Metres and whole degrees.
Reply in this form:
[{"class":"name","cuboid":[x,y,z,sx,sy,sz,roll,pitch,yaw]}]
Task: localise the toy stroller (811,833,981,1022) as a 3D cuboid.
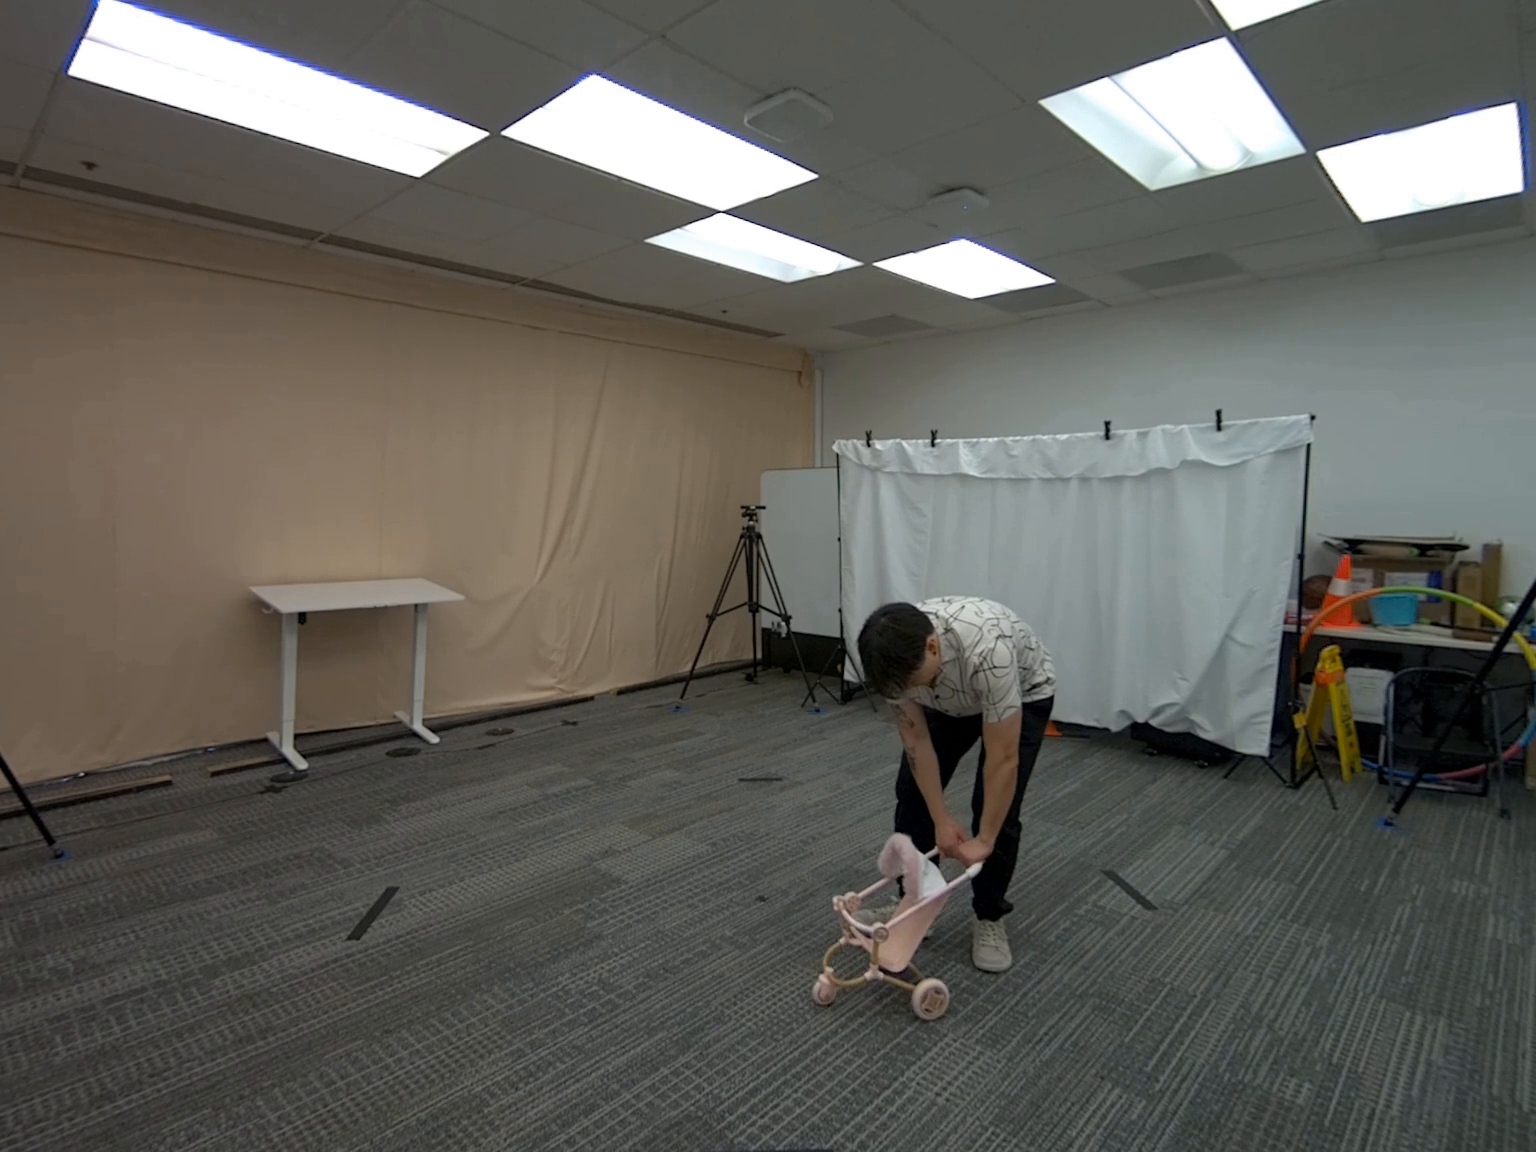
[{"class":"toy stroller","cuboid":[0.354,0.974,2.384,0.337,0.535,0.285,20,-1,-10]}]
